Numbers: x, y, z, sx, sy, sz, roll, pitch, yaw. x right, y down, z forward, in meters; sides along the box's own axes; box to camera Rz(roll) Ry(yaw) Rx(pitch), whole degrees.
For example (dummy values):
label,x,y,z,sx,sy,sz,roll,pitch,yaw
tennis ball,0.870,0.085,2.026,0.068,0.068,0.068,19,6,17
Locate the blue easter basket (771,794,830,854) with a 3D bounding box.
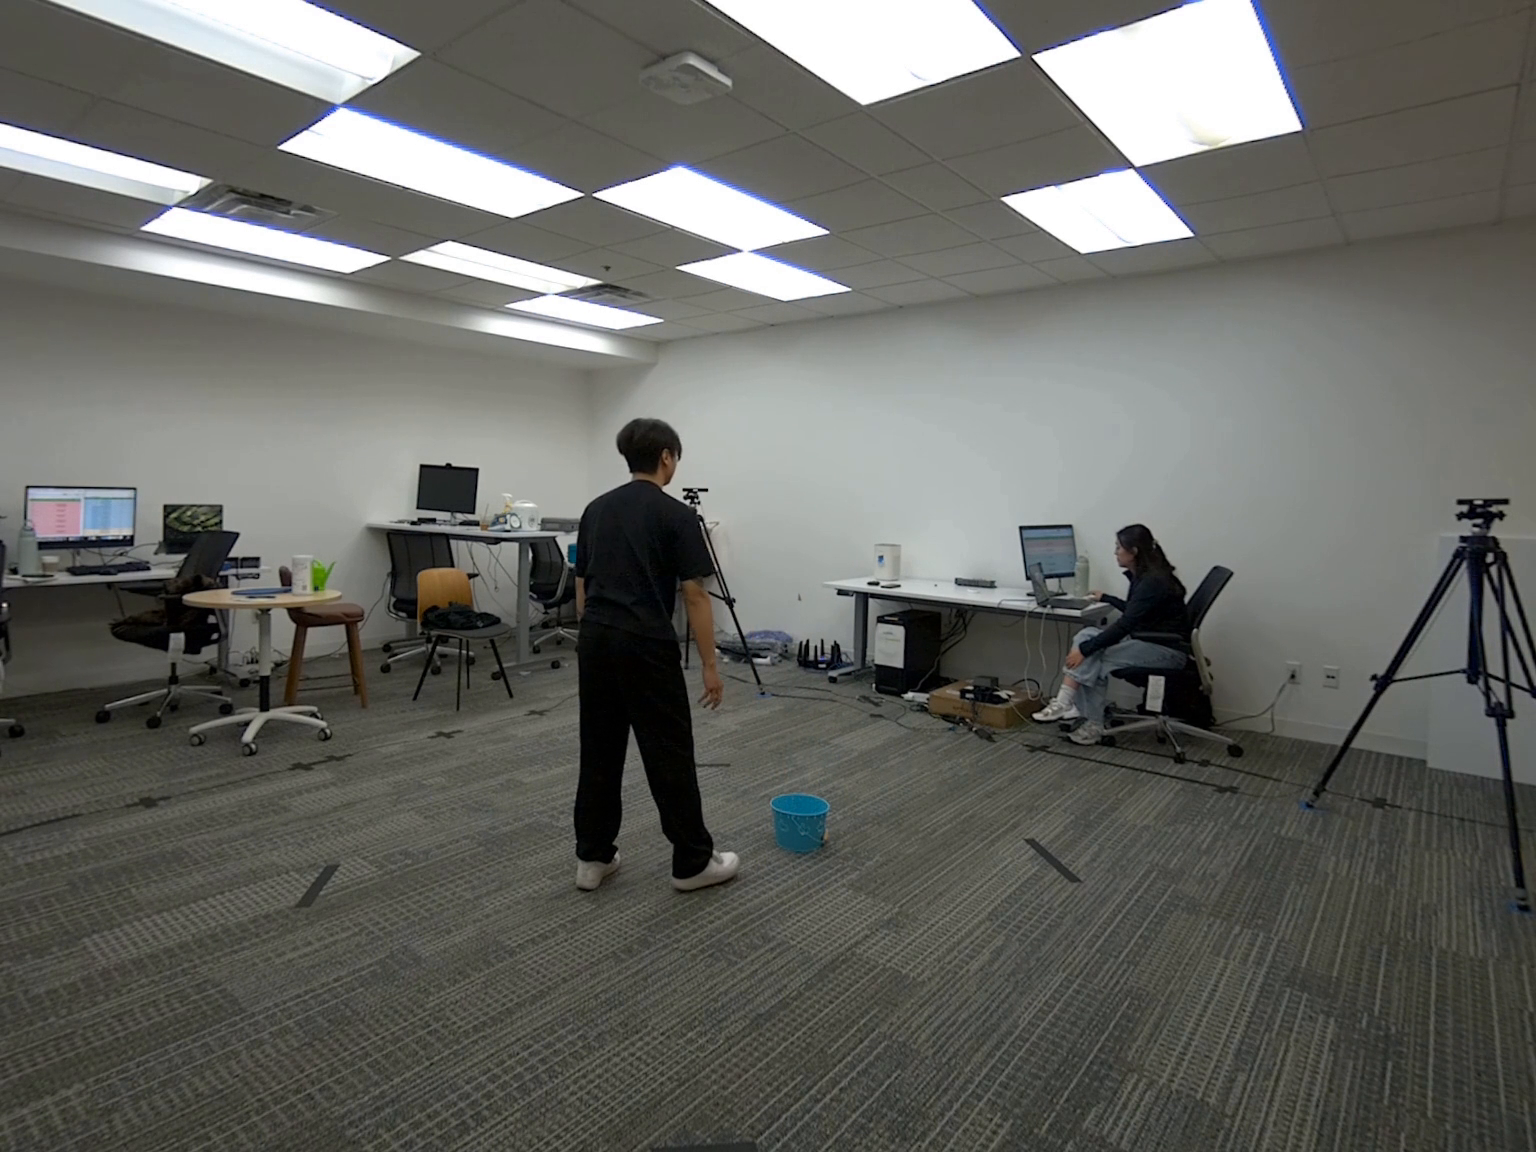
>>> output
label,x,y,z,sx,sy,sz,roll,pitch,yaw
blue easter basket,0.118,0.974,3.365,0.243,0.155,0.245,1,5,-2
